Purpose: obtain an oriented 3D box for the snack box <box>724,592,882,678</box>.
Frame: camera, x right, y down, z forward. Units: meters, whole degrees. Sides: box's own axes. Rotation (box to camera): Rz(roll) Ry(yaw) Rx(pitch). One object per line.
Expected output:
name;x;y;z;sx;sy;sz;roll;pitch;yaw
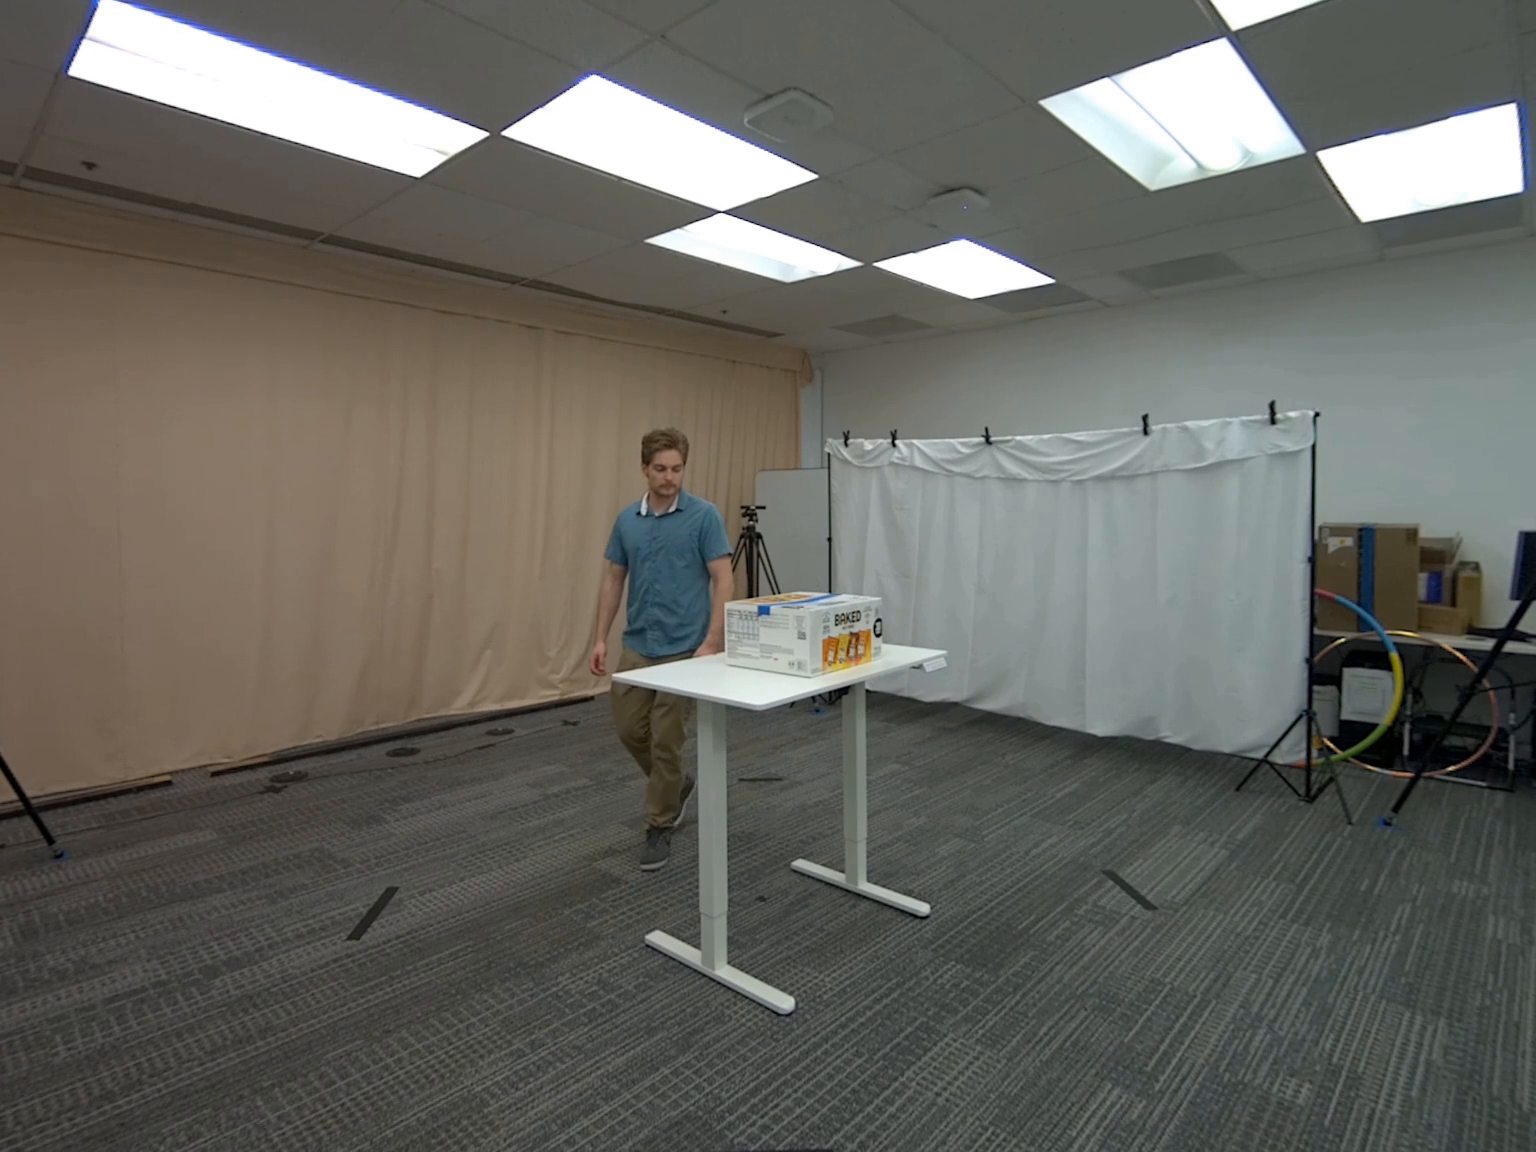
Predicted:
snack box;0.123;0.180;2.730;0.351;0.205;0.393;3;5;40
